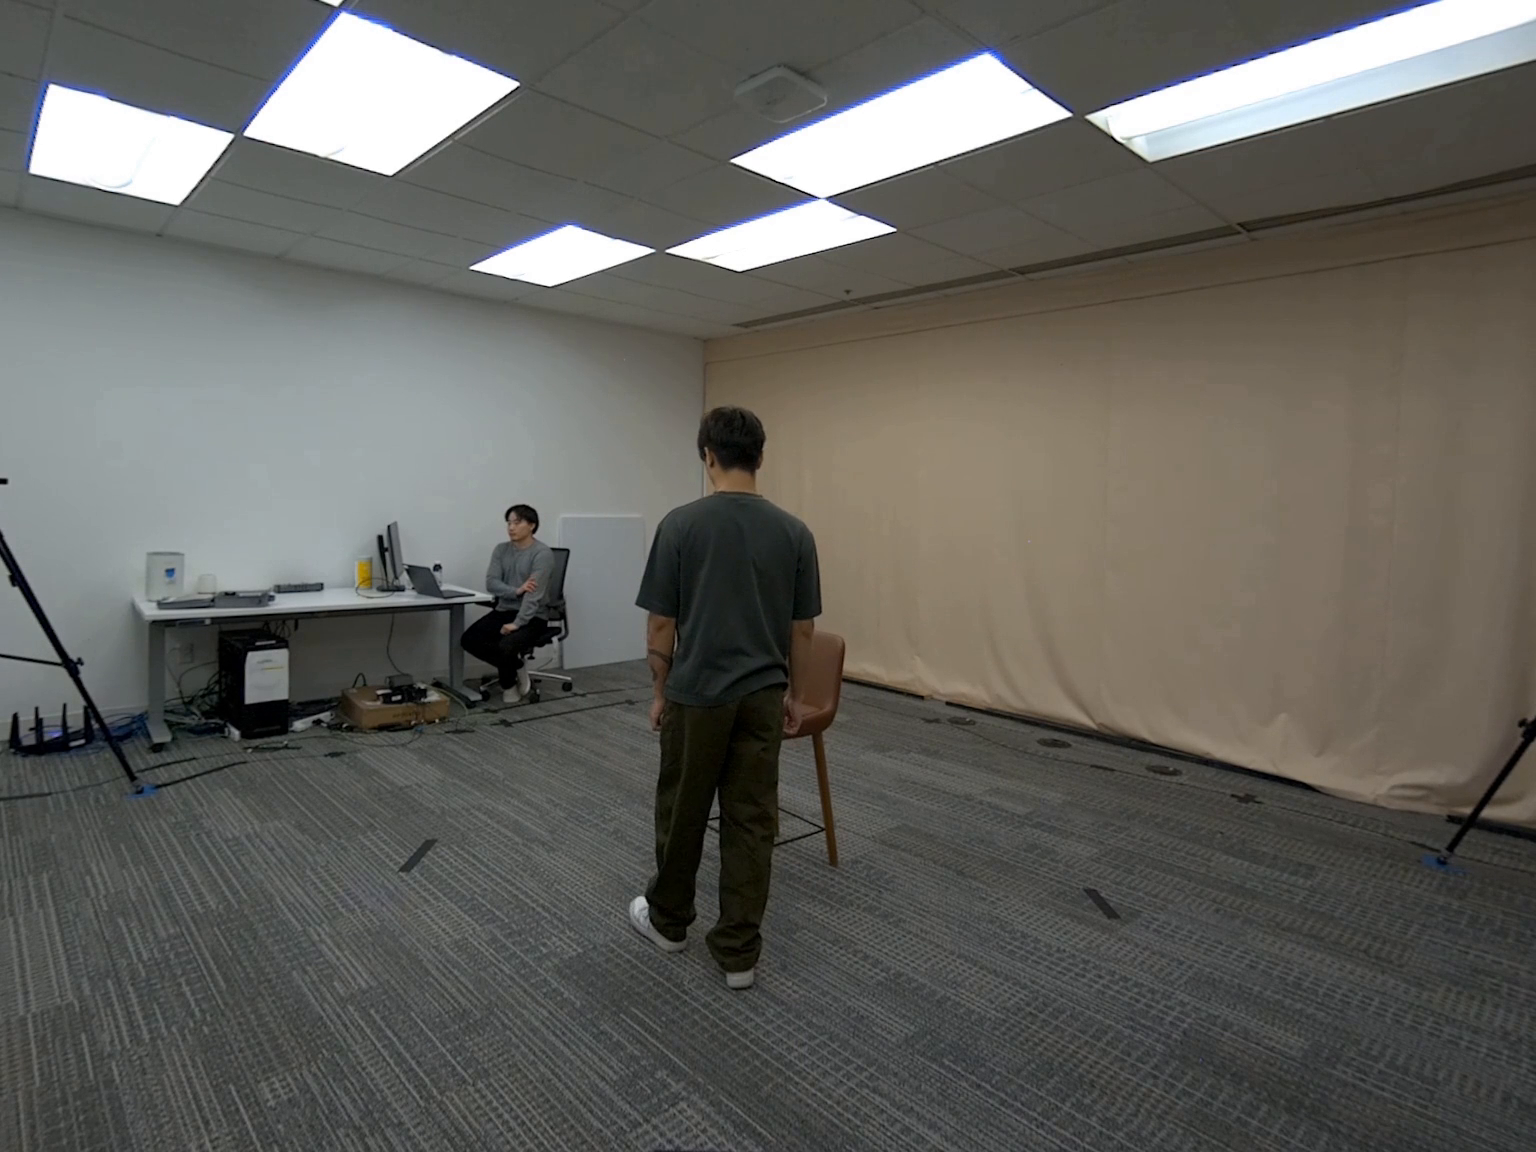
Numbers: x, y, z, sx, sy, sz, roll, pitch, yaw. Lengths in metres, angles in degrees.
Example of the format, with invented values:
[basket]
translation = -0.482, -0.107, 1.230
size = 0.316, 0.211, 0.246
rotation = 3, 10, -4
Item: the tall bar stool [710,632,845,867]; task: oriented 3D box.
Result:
[tall bar stool]
translation = -0.006, 0.665, 3.215
size = 0.456, 0.888, 0.468
rotation = 1, 3, -39
